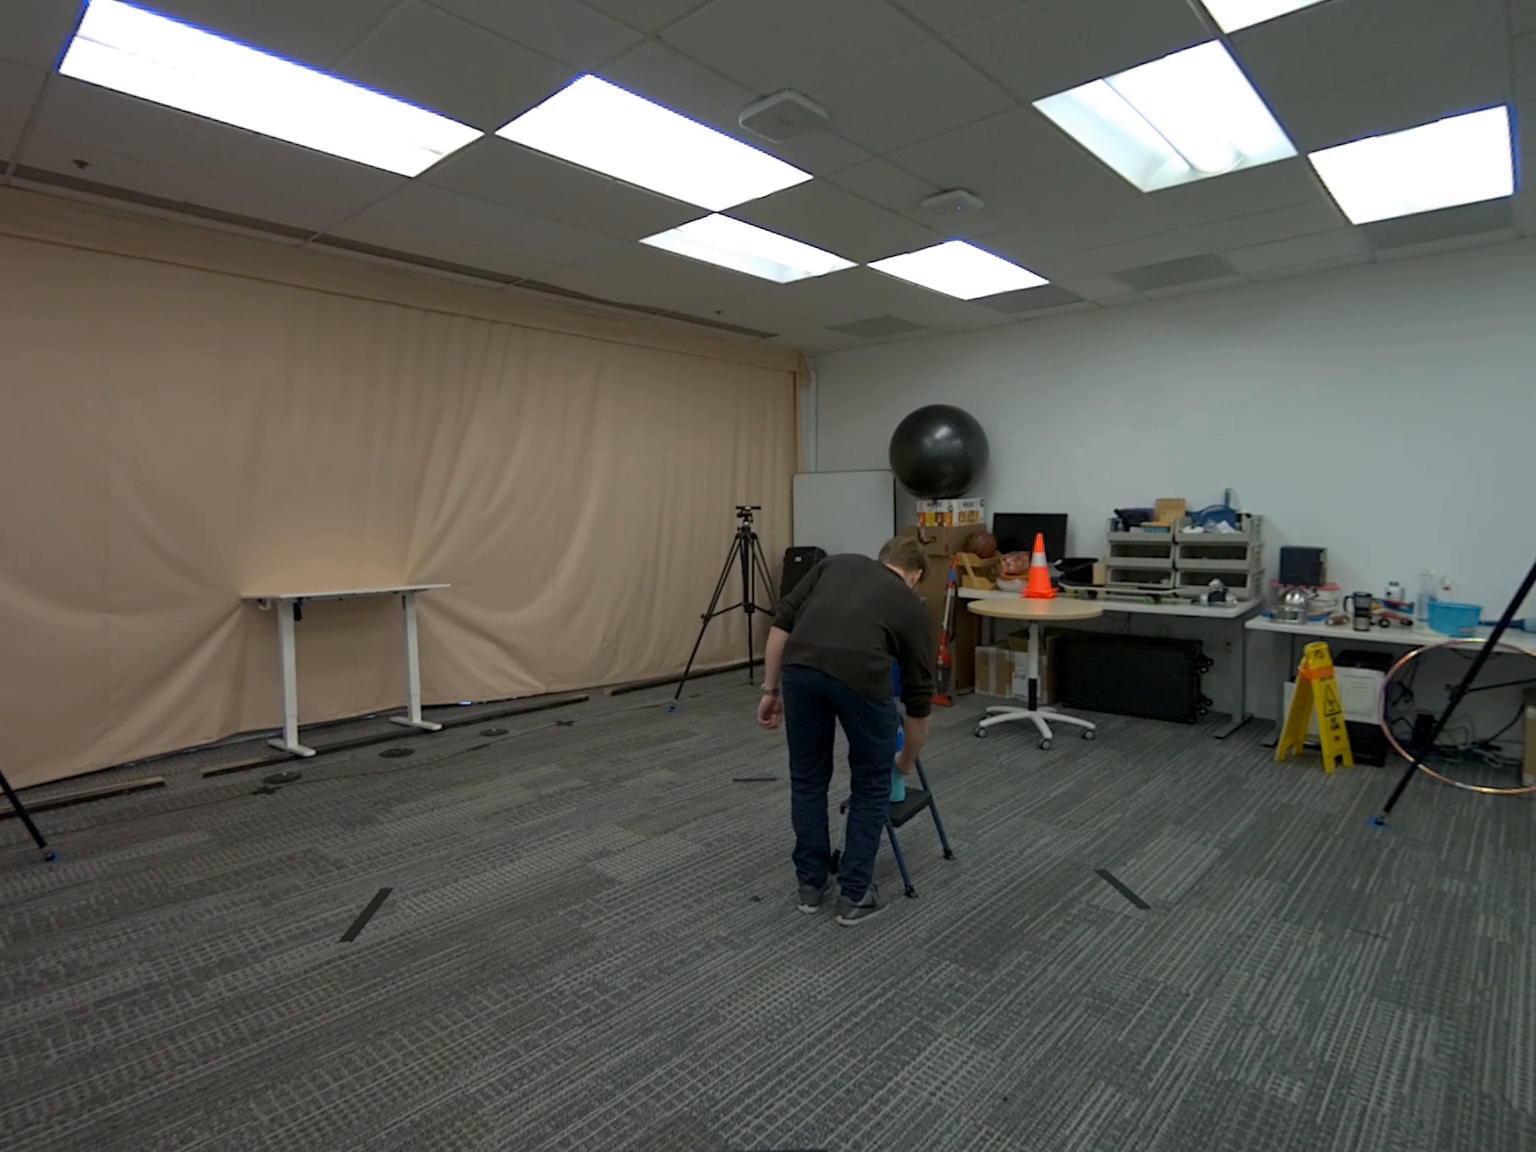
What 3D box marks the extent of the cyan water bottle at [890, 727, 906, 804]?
[{"bbox_3d":[0.490,0.713,3.233,0.092,0.284,0.092,0,-2,-2],"label":"cyan water bottle"}]
